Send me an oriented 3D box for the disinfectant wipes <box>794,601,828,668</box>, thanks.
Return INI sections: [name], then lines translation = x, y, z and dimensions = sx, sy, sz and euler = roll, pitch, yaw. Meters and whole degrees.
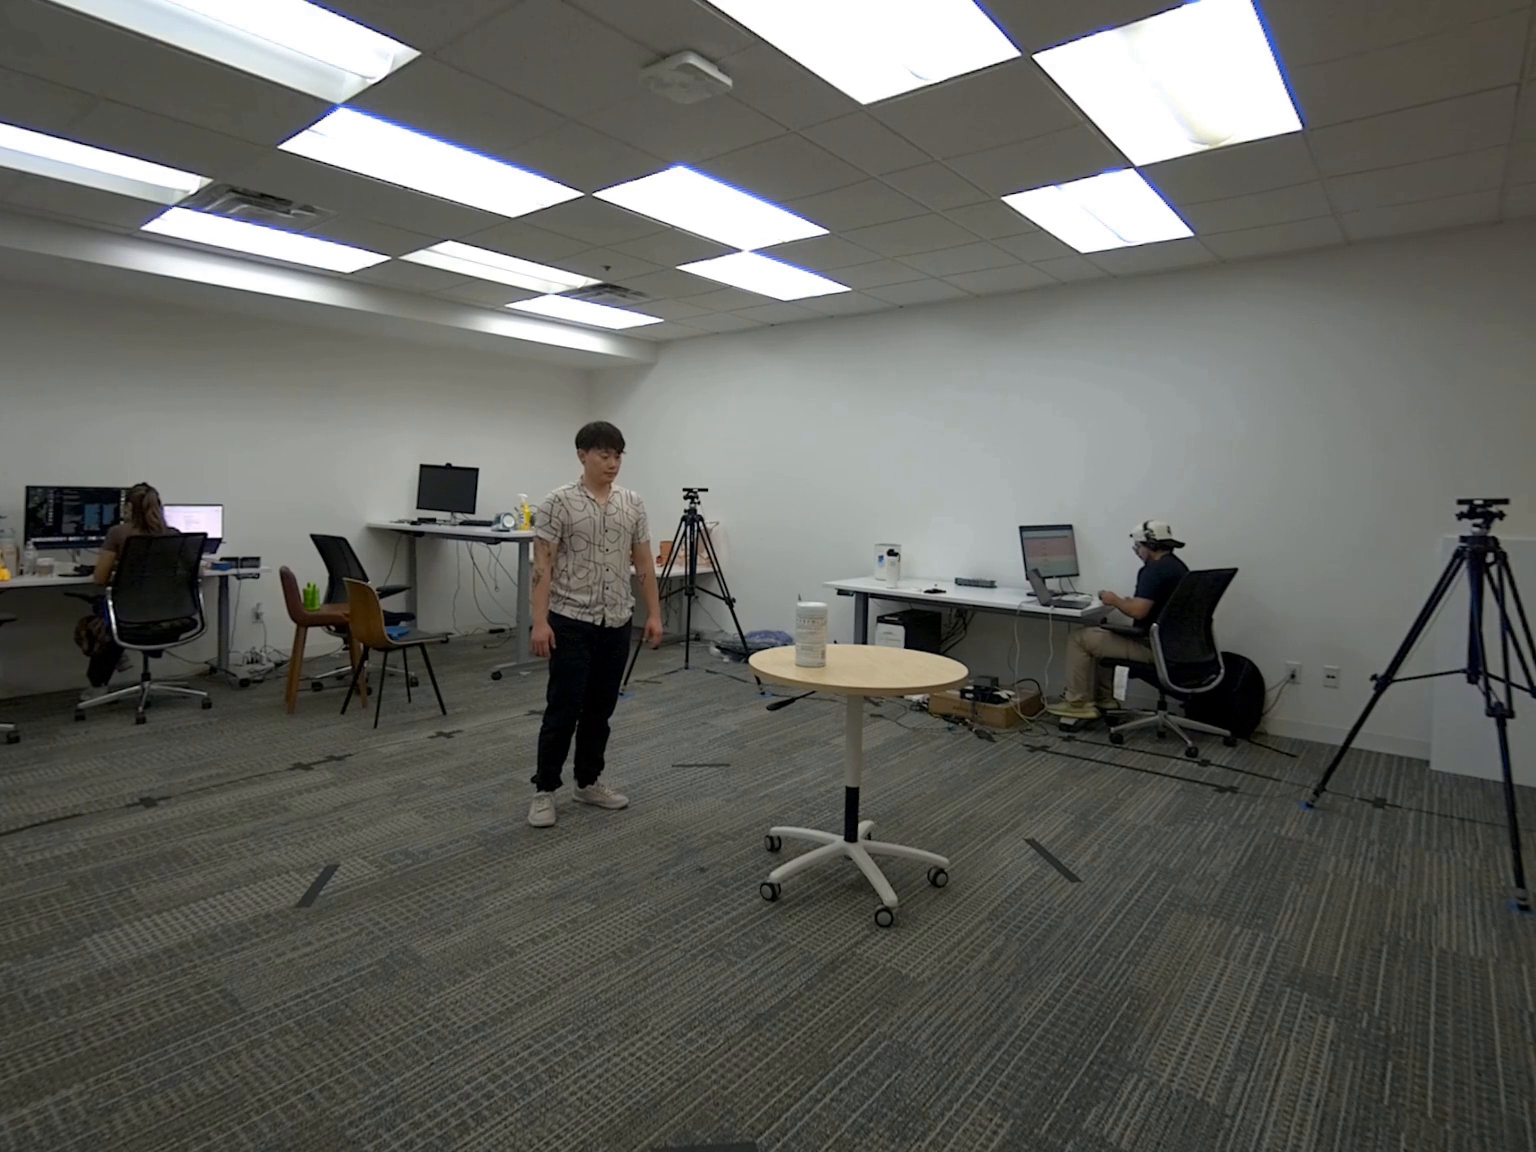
[disinfectant wipes]
translation = 0.143, 0.203, 2.978
dimensions = 0.118, 0.217, 0.118
euler = 1, 3, -2
